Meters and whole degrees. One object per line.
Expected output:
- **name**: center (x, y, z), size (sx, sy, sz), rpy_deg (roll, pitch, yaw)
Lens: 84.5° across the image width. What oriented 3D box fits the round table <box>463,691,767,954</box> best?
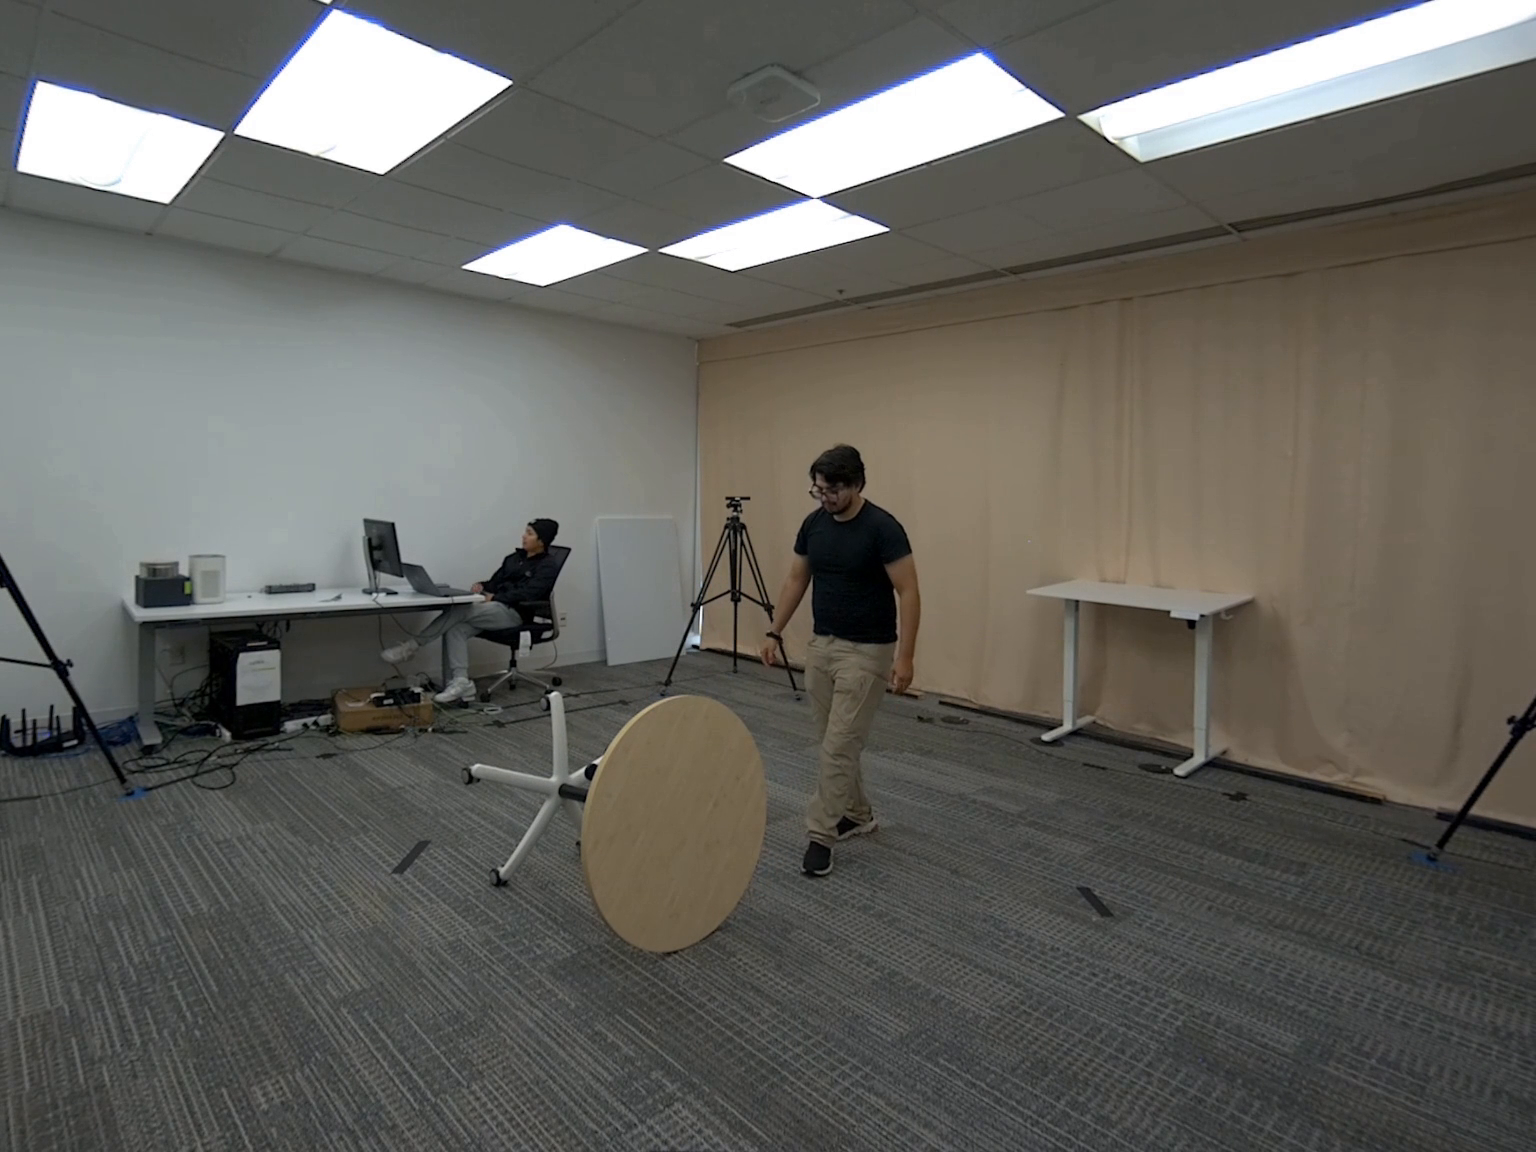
- **round table**: center (-0.565, 0.769, 2.897), size (0.804, 0.785, 0.767), rpy_deg (-3, 0, 42)
